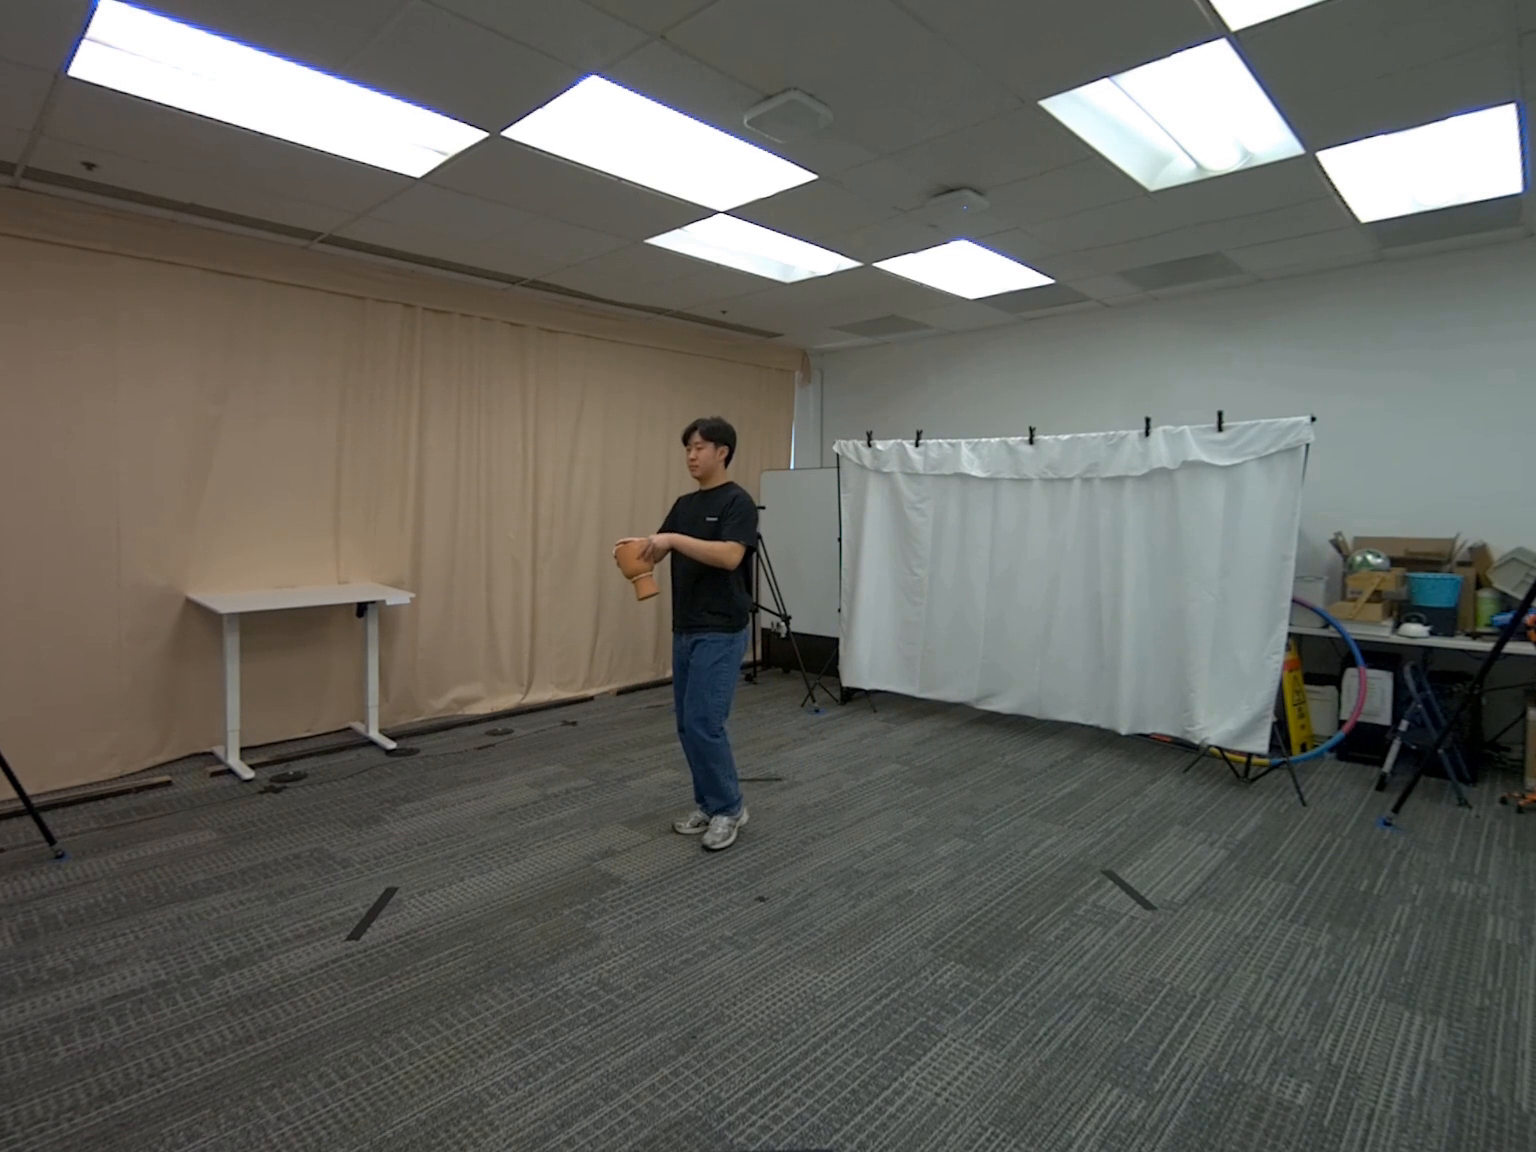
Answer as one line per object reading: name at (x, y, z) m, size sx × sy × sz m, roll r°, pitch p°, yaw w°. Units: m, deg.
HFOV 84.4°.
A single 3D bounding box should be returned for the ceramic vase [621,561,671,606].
ceramic vase at (-0.498, -0.020, 3.367) m, size 0.133 × 0.221 × 0.160 m, roll -19°, pitch -7°, yaw -17°
